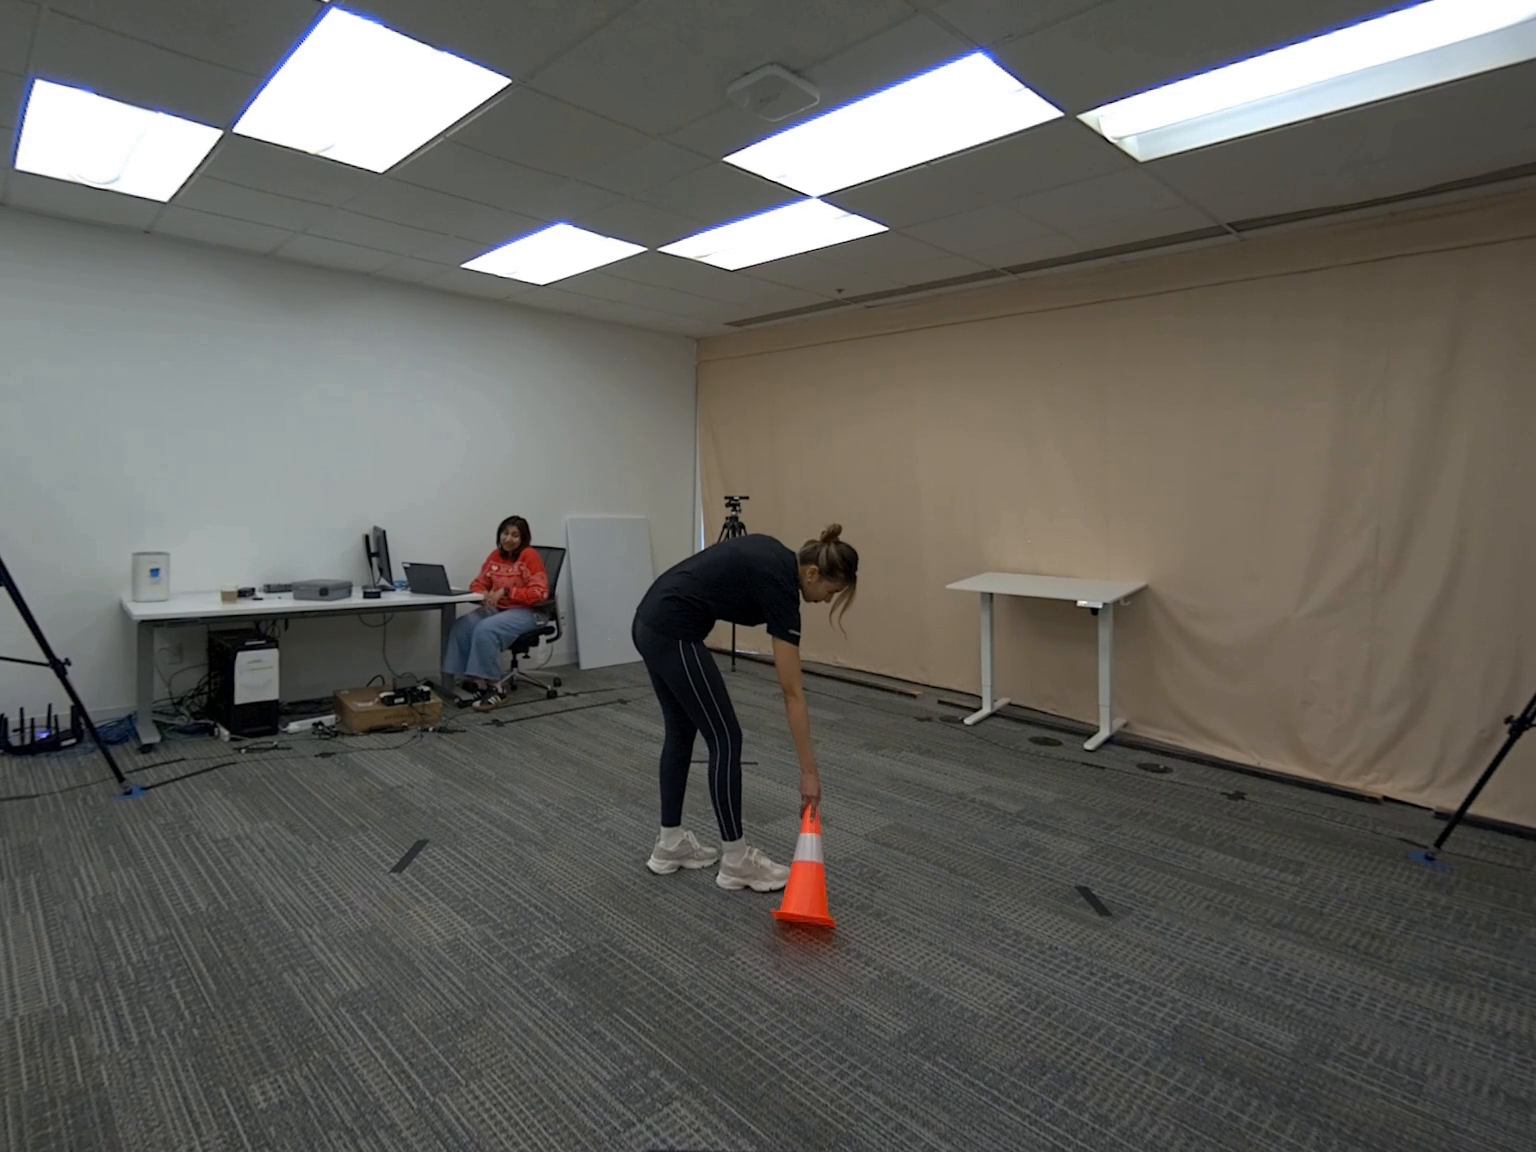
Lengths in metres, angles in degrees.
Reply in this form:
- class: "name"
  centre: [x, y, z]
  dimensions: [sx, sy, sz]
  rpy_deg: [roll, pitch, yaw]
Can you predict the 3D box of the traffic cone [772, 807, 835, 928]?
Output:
- class: "traffic cone"
  centre: [0.130, 0.932, 2.774]
  dimensions: [0.205, 0.389, 0.200]
  rpy_deg: [3, -29, 9]
